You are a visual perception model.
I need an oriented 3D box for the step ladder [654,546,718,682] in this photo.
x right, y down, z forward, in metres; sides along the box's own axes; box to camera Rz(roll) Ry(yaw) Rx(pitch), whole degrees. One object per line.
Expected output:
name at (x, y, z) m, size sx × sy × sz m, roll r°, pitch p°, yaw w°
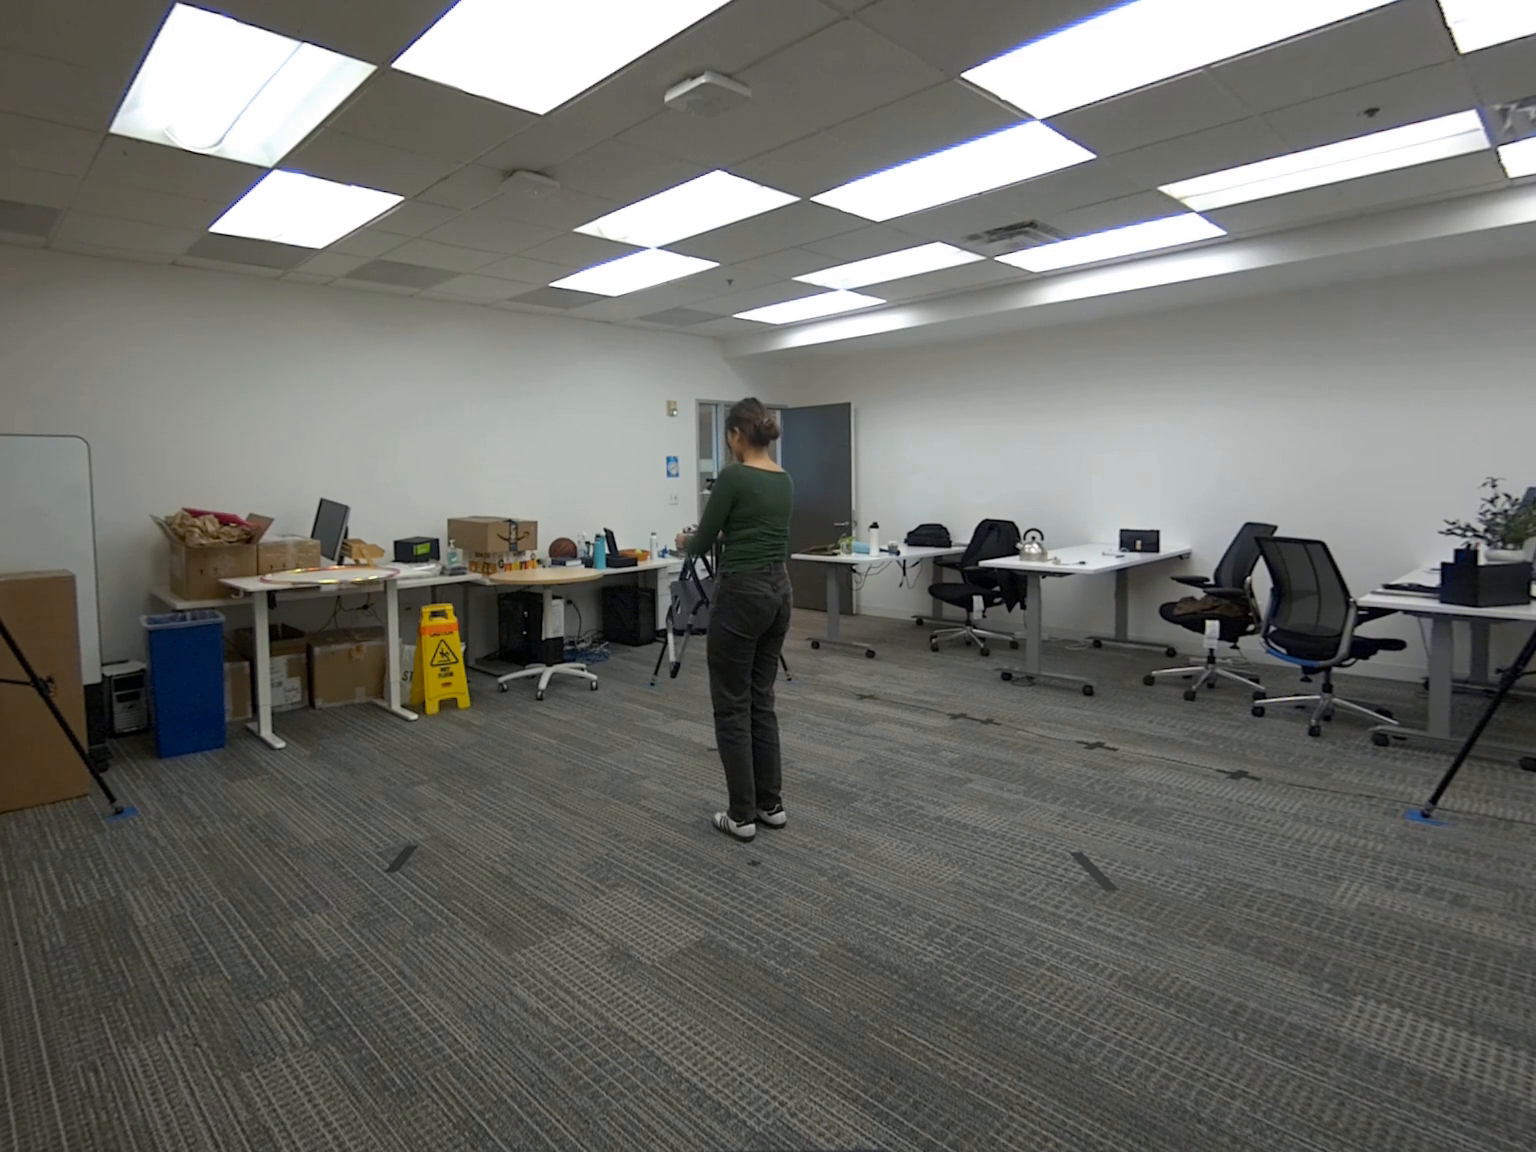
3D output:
step ladder at (-0.285, 0.094, 3.817) m, size 0.347 × 0.591 × 0.444 m, roll -2°, pitch 36°, yaw -7°
